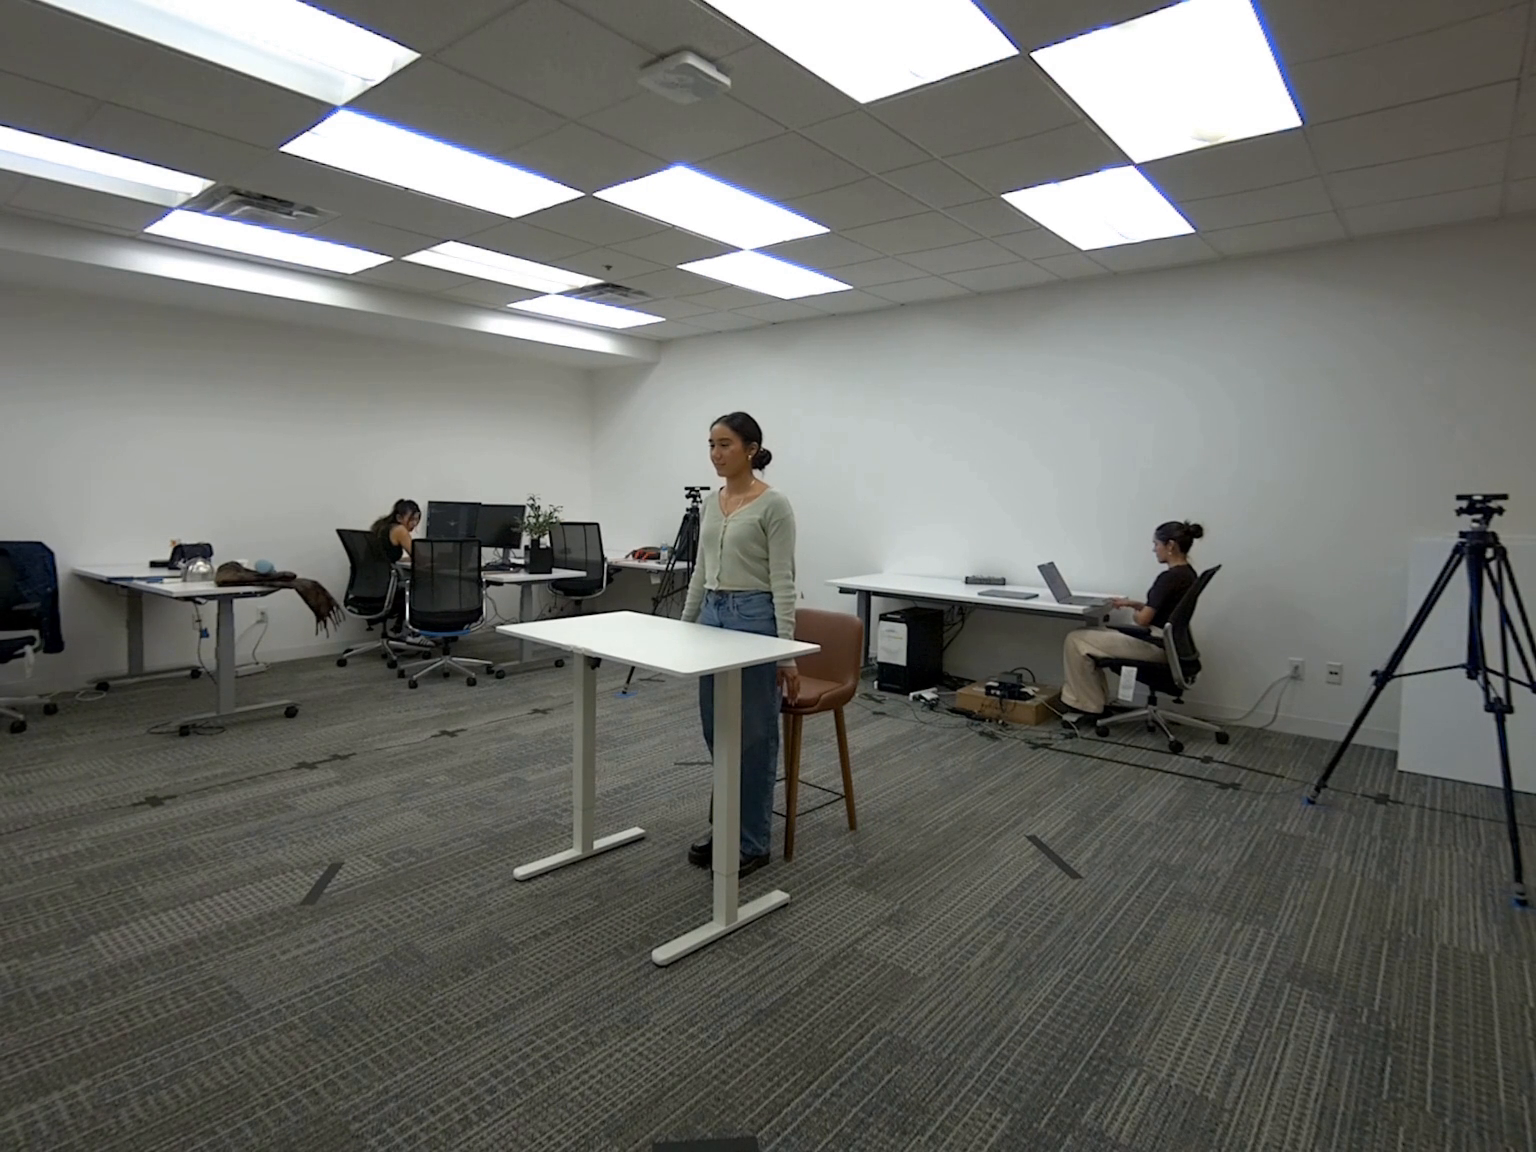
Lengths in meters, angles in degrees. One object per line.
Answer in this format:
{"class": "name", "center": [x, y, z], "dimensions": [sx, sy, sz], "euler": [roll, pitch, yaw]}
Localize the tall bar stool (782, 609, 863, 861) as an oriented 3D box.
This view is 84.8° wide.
{"class": "tall bar stool", "center": [0.084, 0.596, 3.461], "dimensions": [0.453, 0.888, 0.472], "euler": [0, 3, -45]}
